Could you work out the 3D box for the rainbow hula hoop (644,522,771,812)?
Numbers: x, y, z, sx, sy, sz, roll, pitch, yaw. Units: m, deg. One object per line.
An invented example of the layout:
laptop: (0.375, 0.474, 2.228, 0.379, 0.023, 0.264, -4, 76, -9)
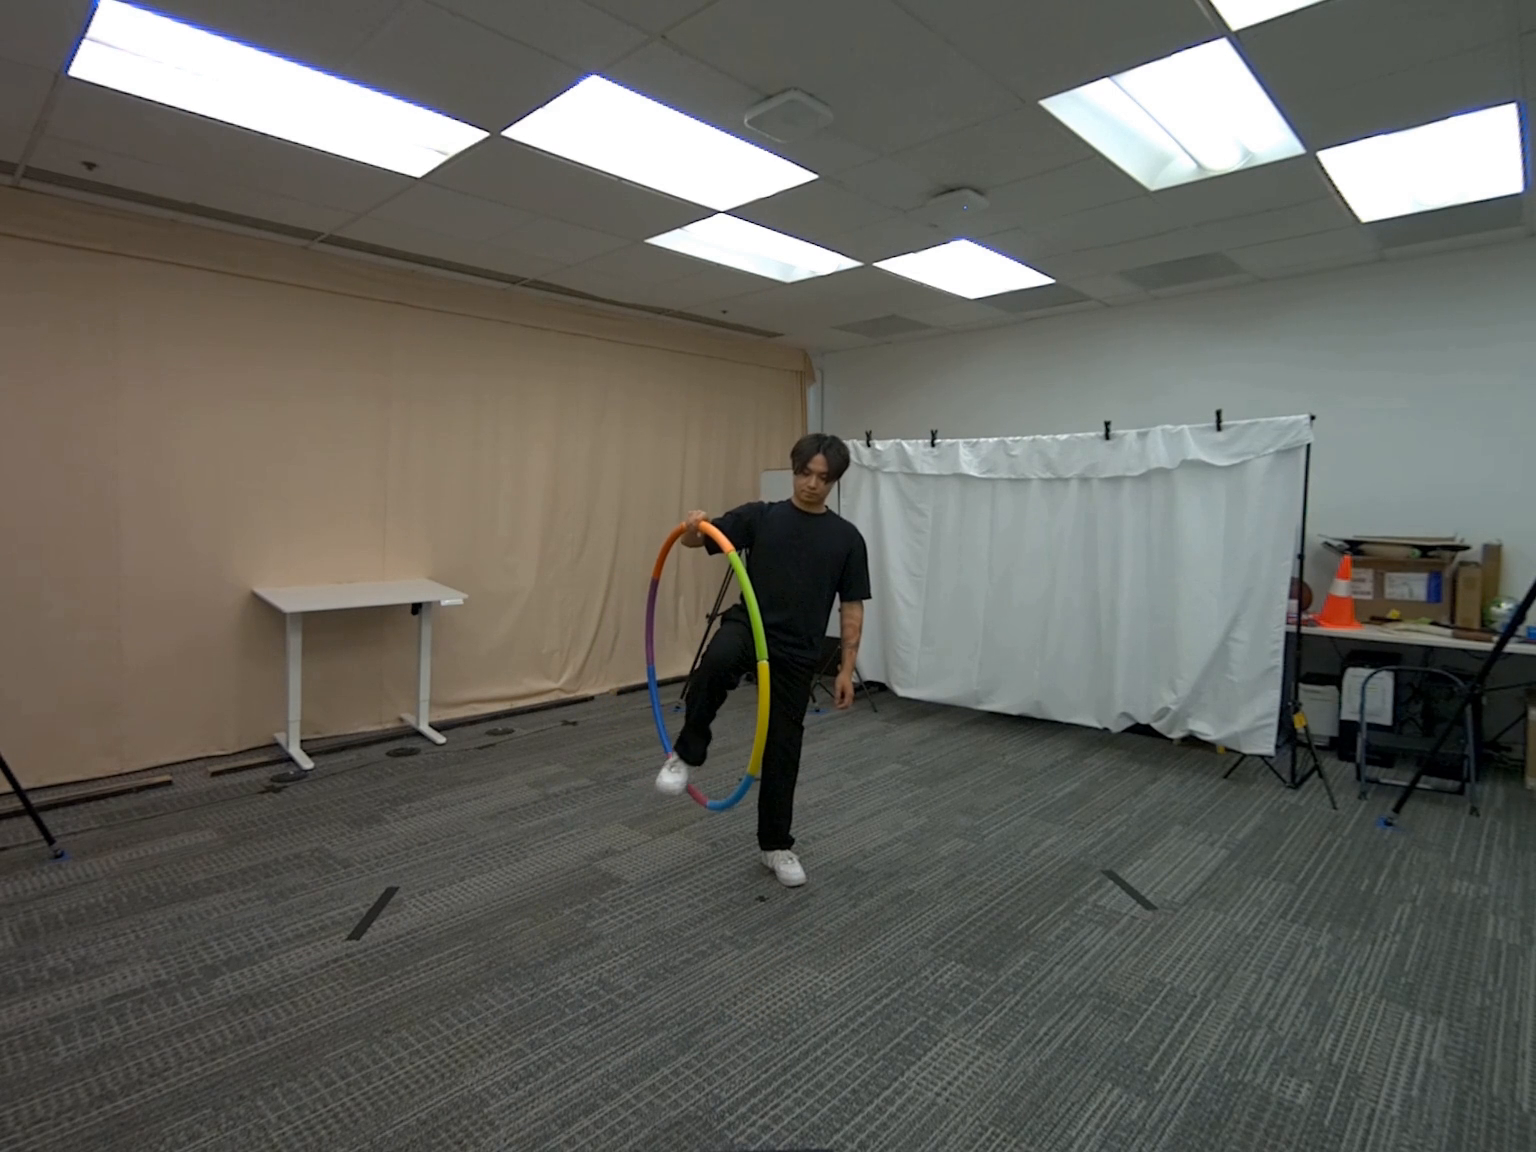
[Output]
rainbow hula hoop: (-0.226, 0.291, 2.951, 0.034, 0.977, 1.005, 0, 3, -28)
